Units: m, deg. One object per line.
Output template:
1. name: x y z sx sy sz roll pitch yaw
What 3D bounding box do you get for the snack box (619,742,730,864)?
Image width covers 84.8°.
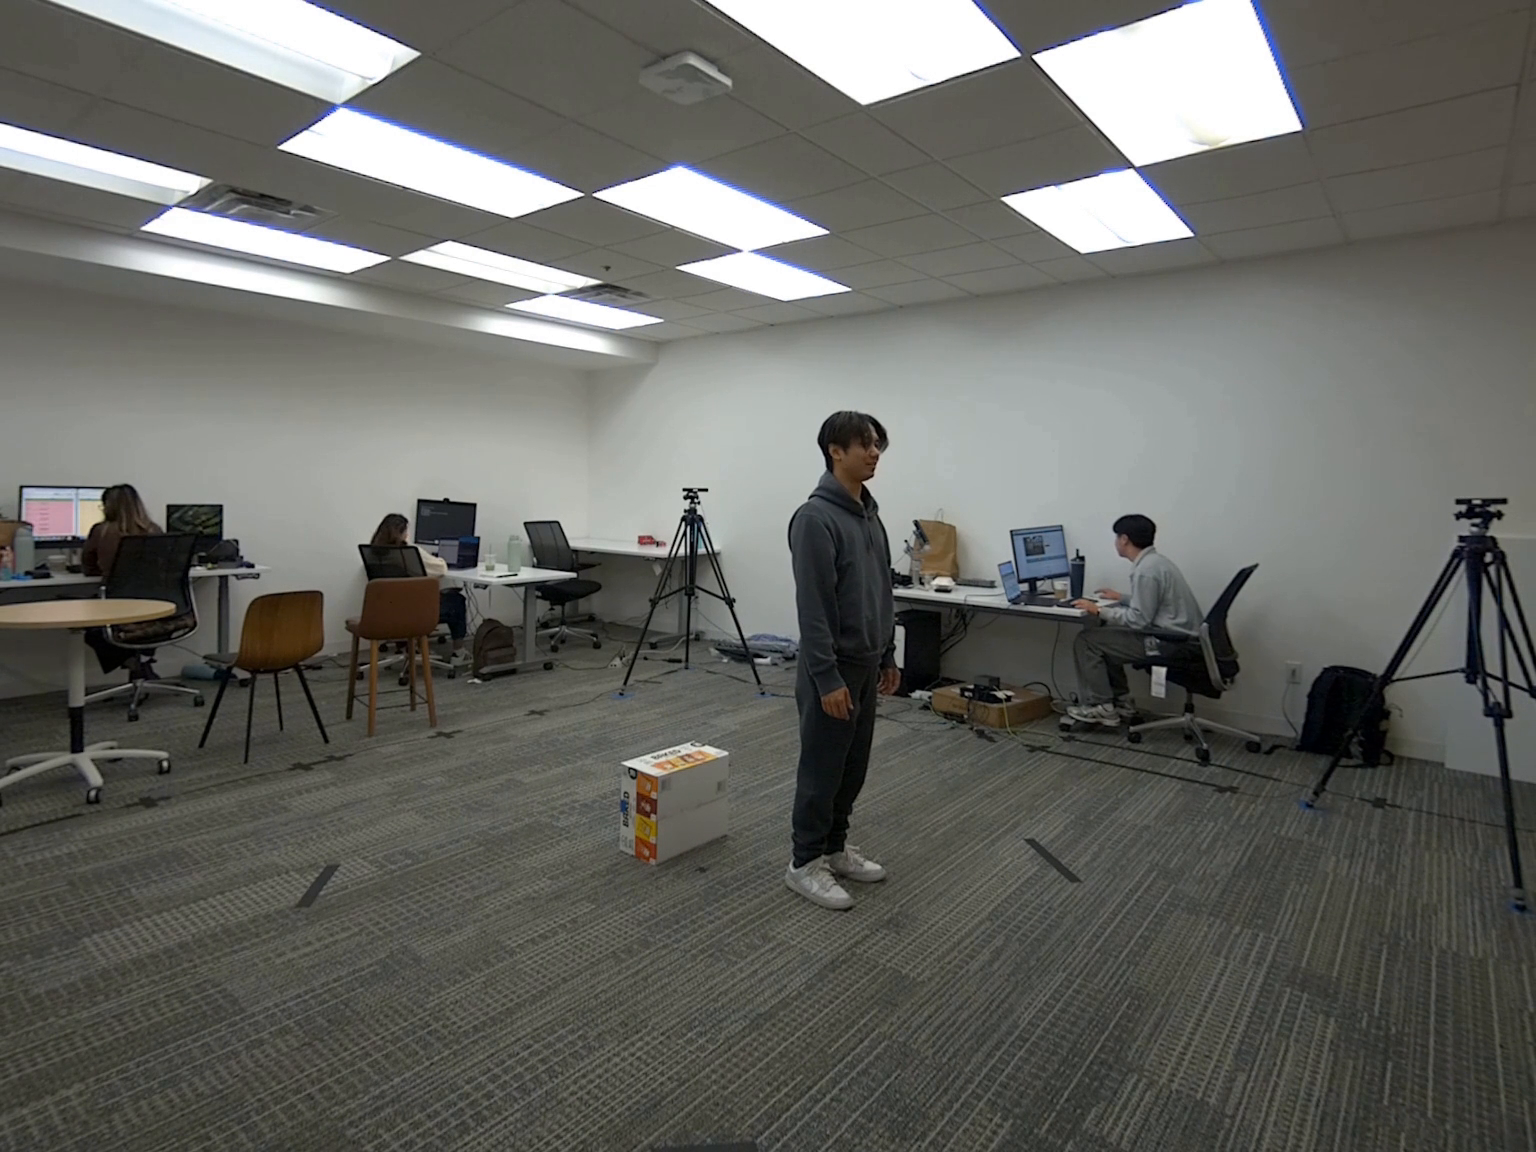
1. snack box: -0.373 0.877 3.334 0.213 0.339 0.393 6 7 40
